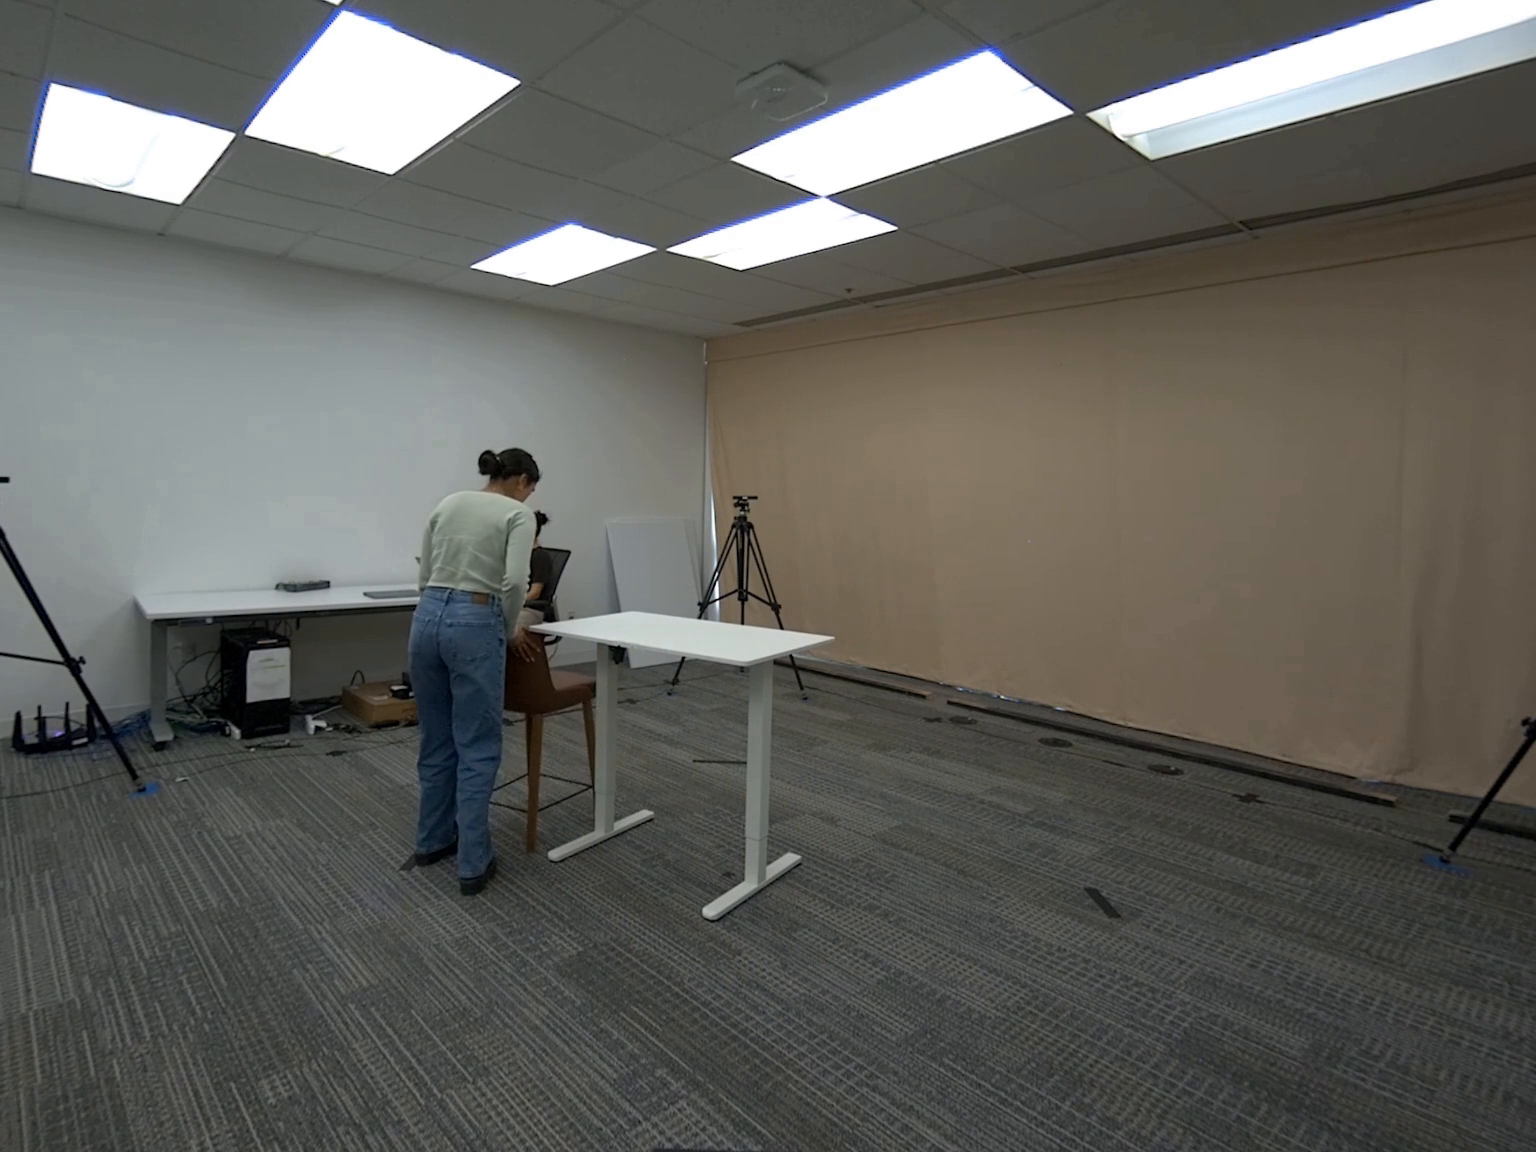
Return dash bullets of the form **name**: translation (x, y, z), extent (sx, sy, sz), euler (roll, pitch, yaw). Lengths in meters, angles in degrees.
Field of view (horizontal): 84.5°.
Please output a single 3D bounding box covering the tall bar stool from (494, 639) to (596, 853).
- **tall bar stool**: translation (-0.991, 0.612, 3.506), extent (0.466, 0.886, 0.460), euler (2, 6, 28)
